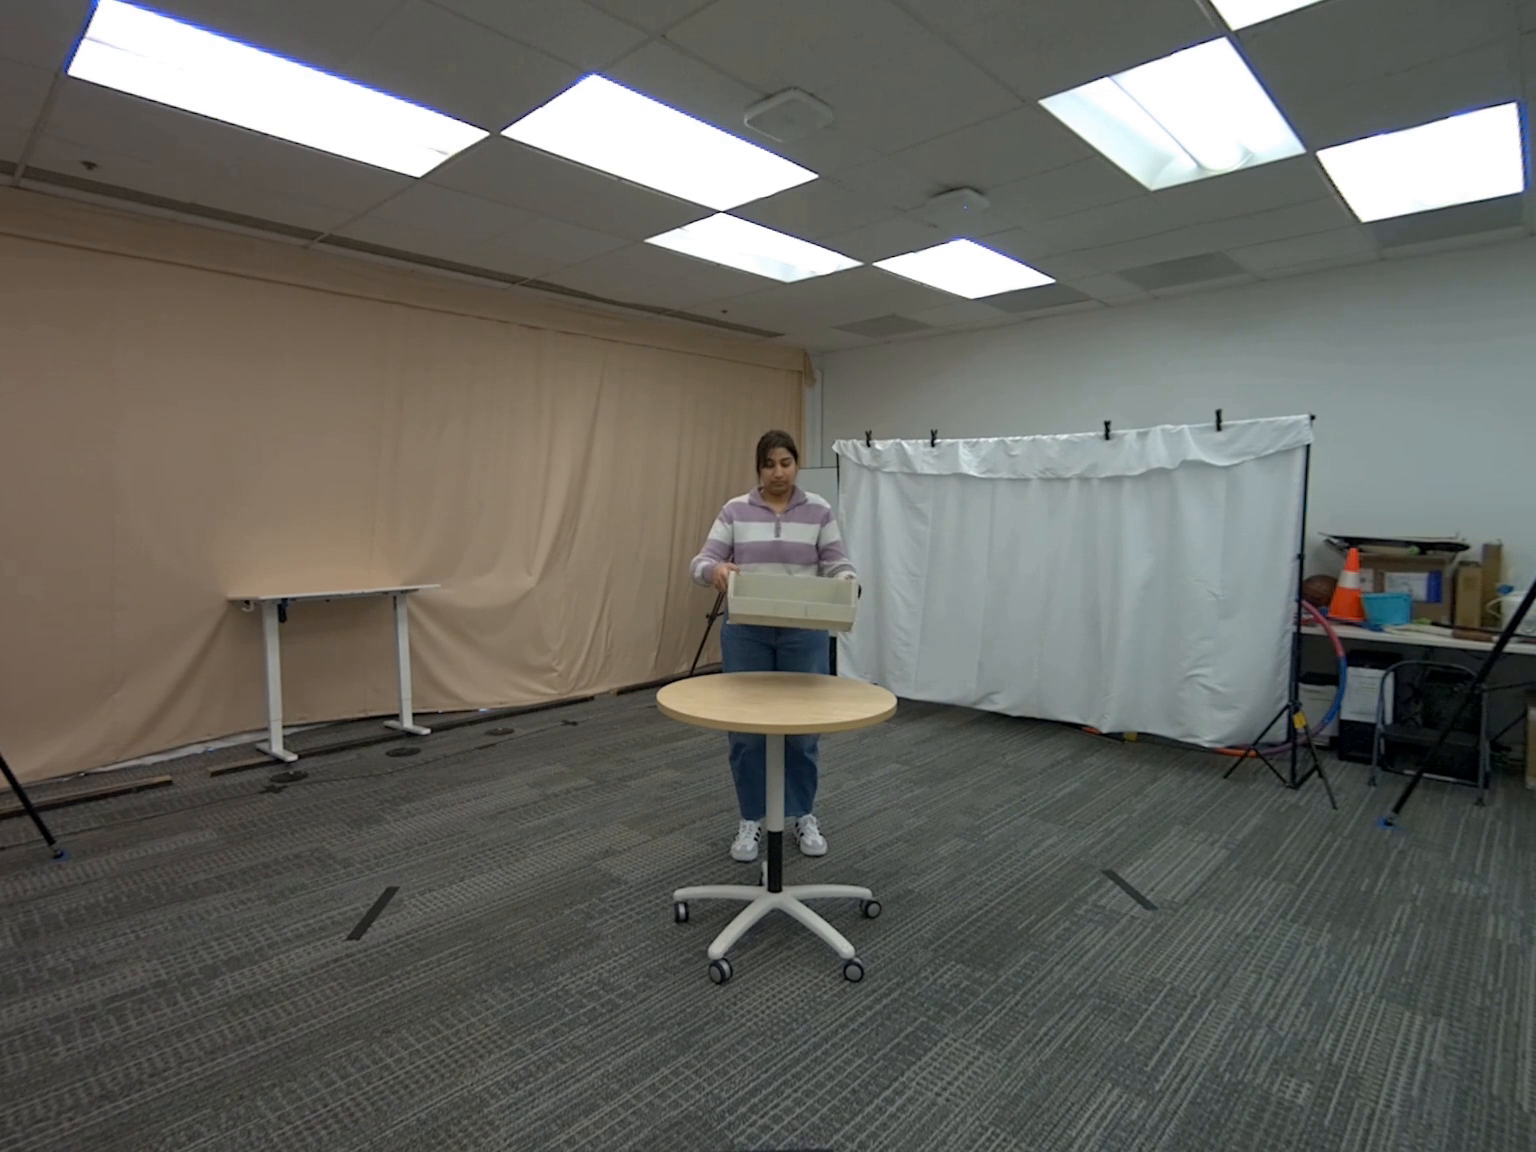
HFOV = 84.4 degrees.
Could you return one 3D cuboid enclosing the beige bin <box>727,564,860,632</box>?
[{"bbox_3d":[0.075,0.091,2.881,0.423,0.189,0.377,5,-1,0],"label":"beige bin"}]
